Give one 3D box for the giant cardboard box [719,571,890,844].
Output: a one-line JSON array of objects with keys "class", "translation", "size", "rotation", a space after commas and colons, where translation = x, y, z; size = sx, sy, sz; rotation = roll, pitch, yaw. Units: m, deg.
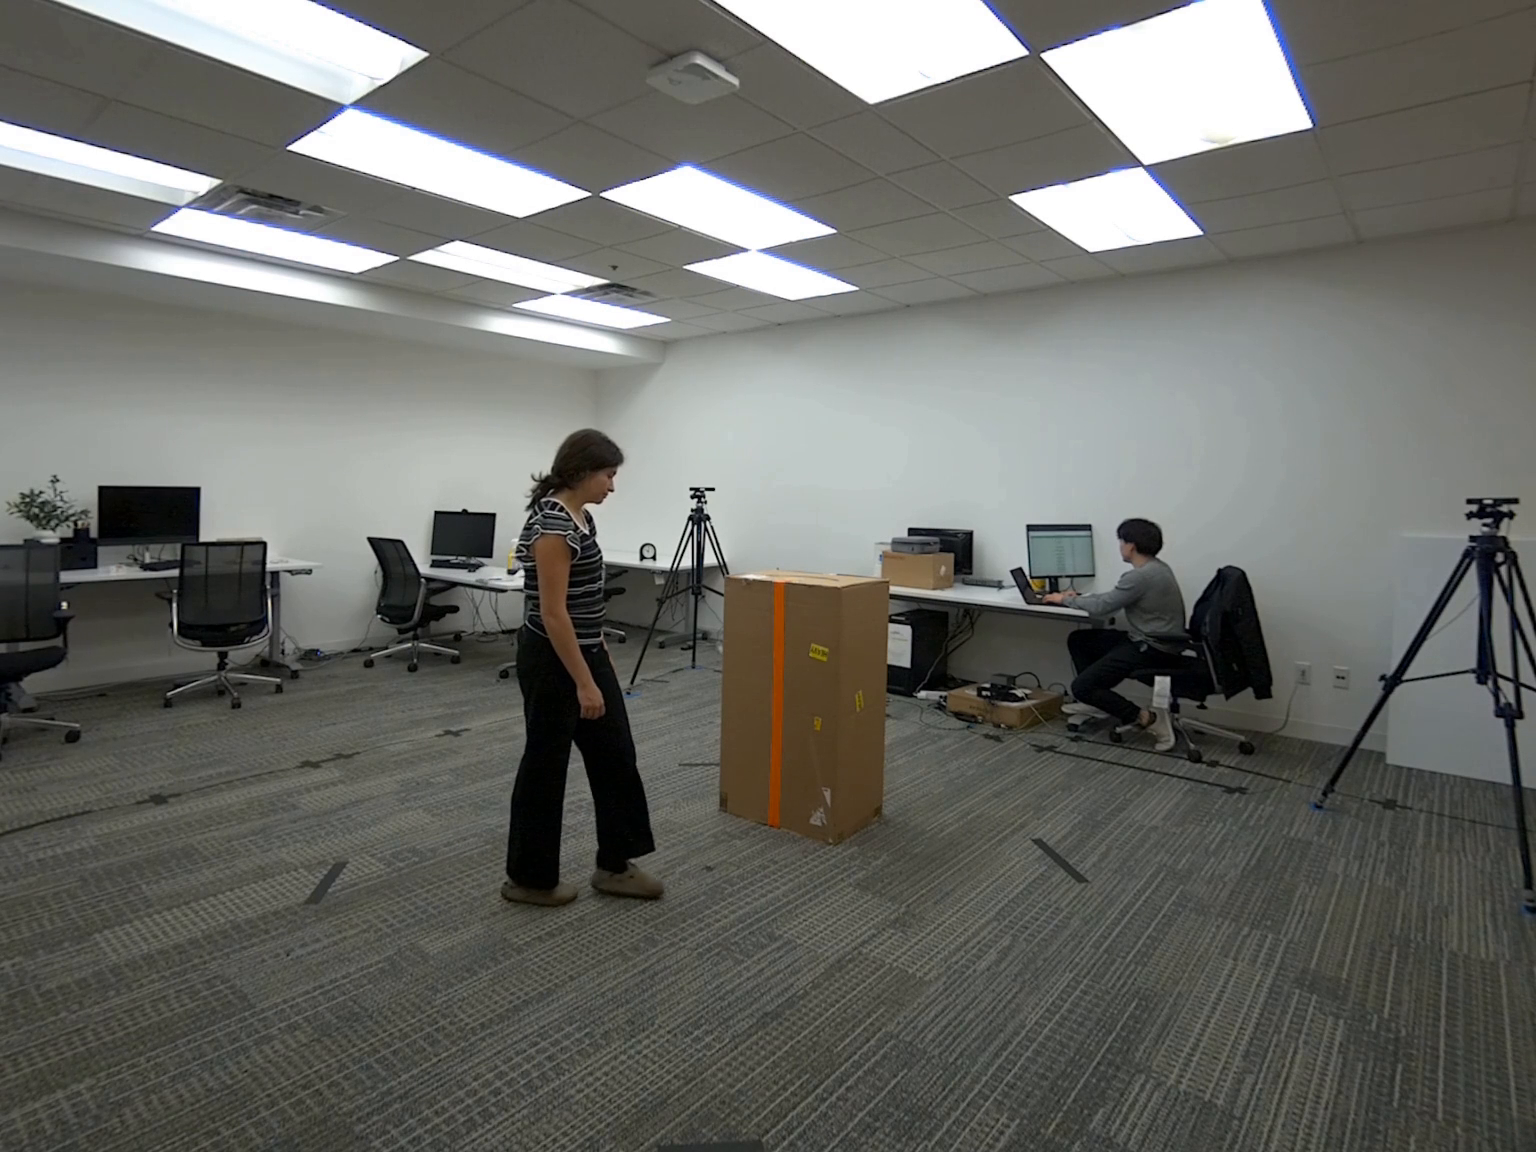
[{"class": "giant cardboard box", "translation": [0.145, 0.514, 3.649], "size": [0.596, 1.023, 0.414], "rotation": [4, 4, 36]}]
